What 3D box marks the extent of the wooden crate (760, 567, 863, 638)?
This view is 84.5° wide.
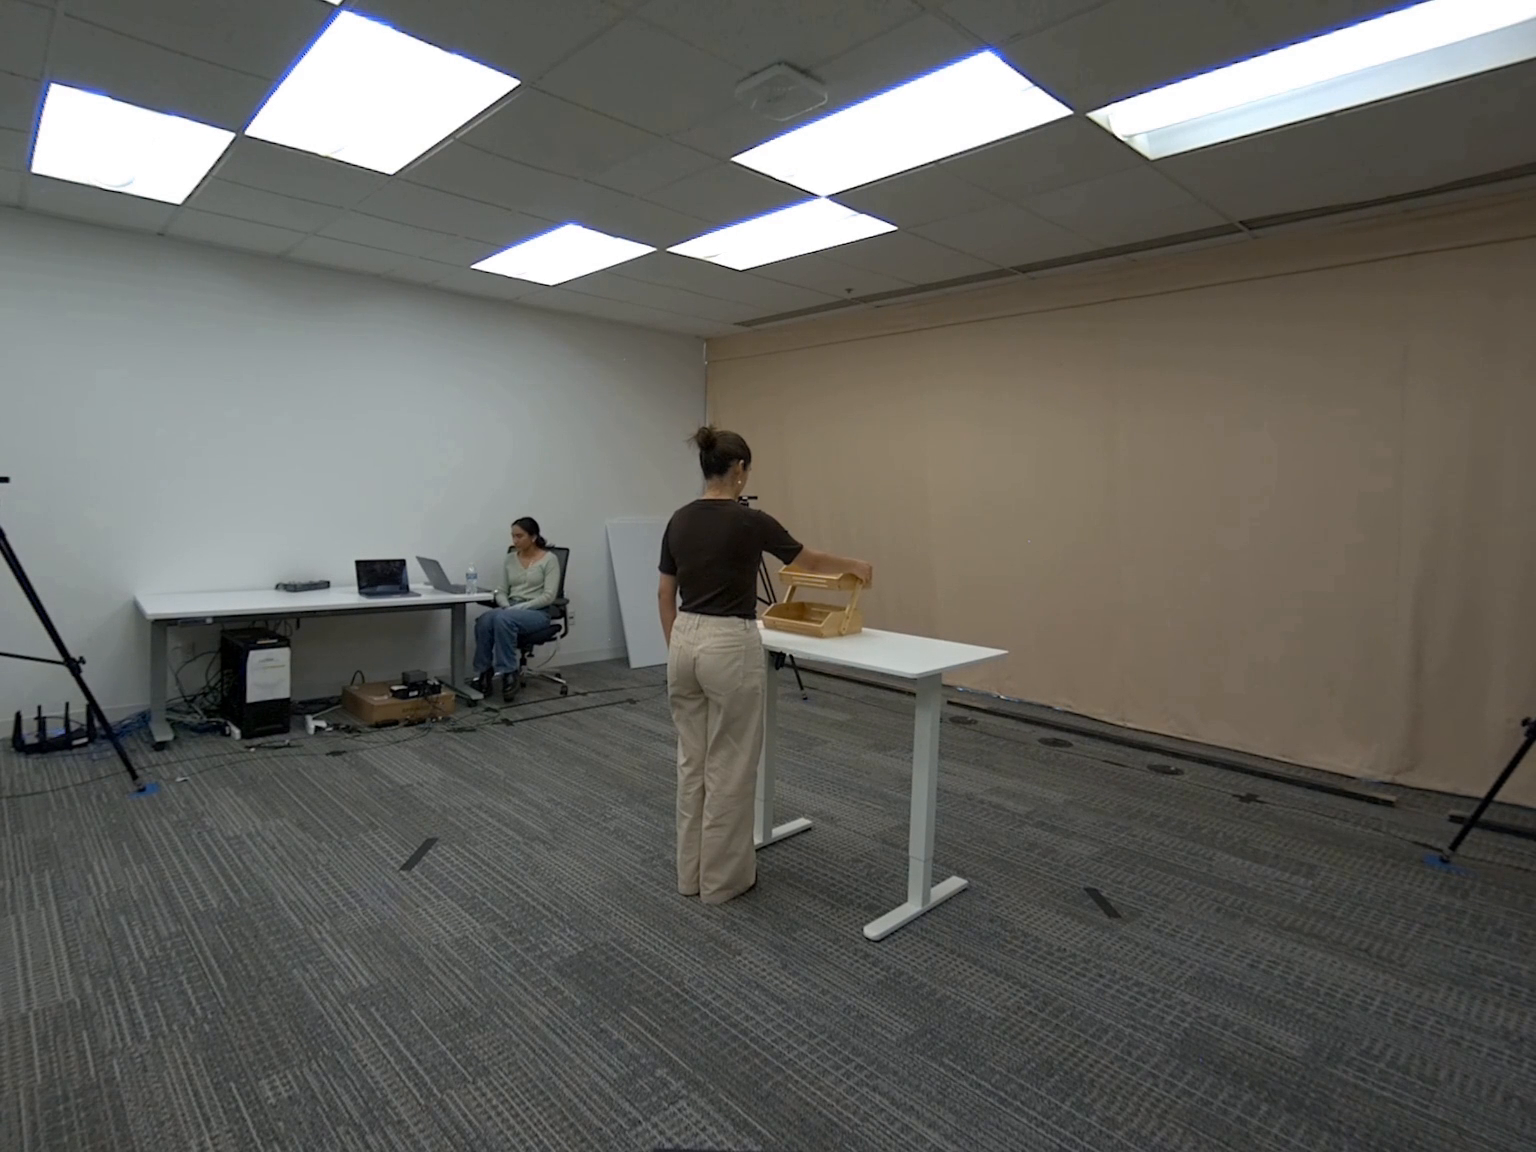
[{"bbox_3d":[0.183,0.080,3.275,0.333,0.273,0.295,6,5,43],"label":"wooden crate"}]
